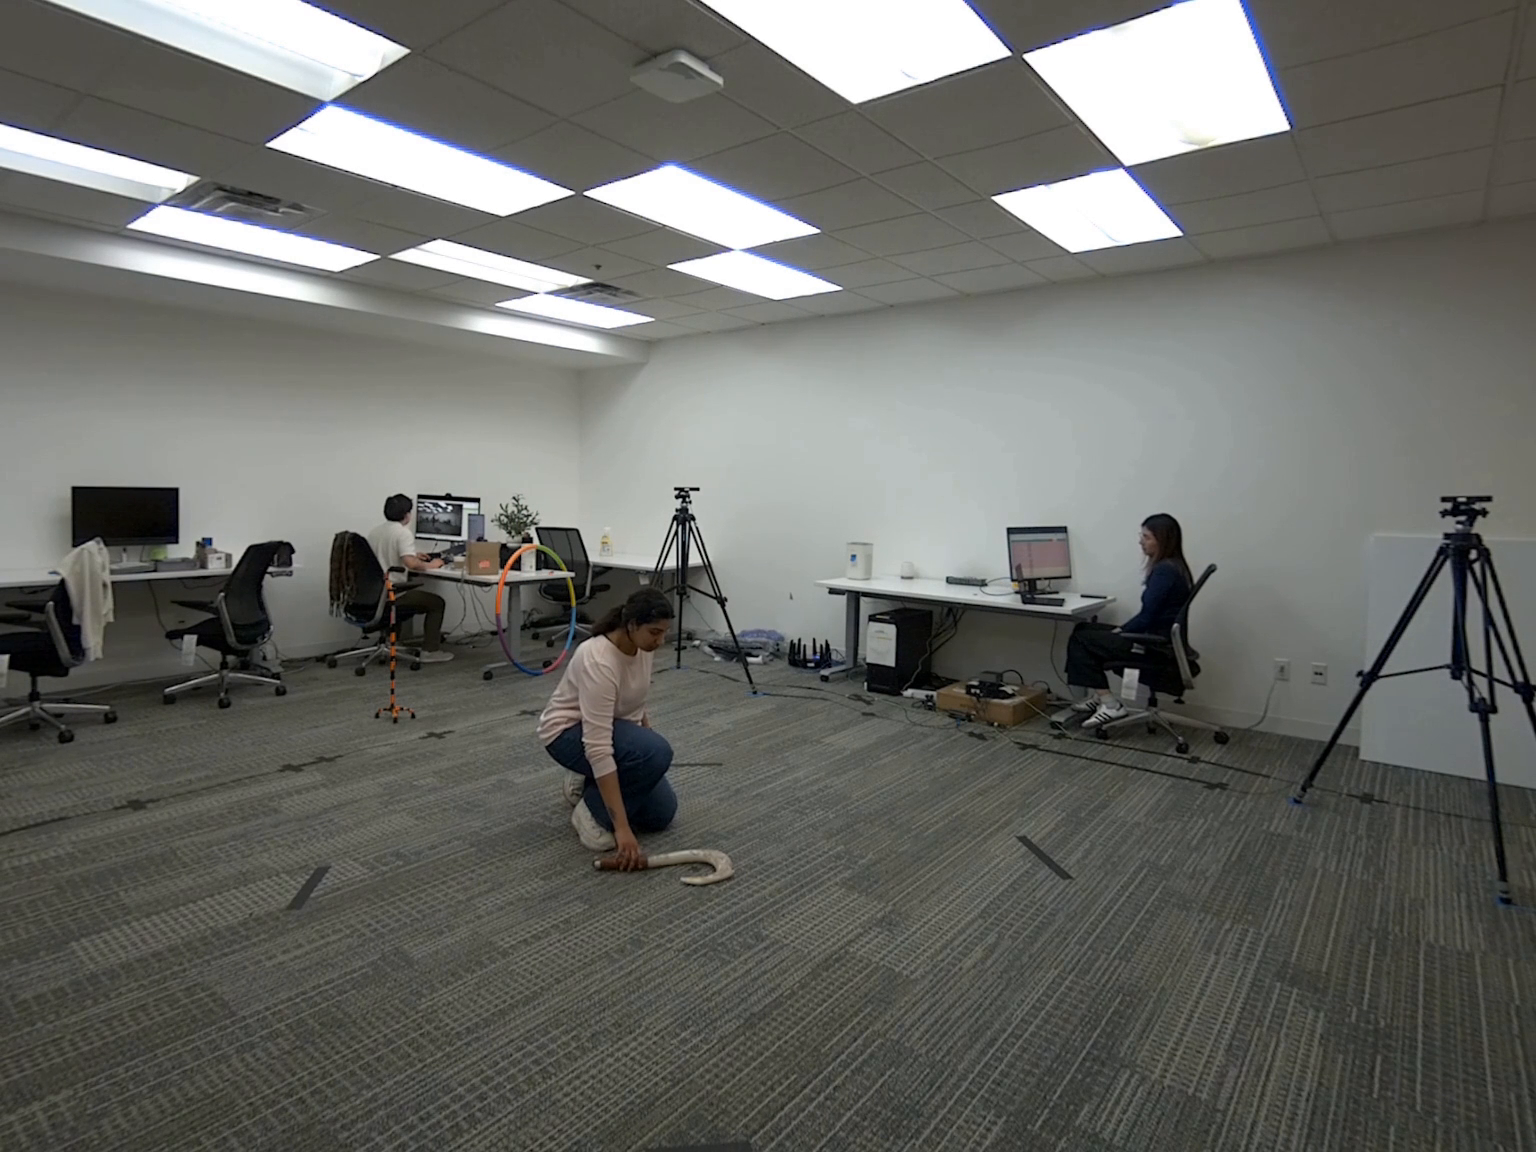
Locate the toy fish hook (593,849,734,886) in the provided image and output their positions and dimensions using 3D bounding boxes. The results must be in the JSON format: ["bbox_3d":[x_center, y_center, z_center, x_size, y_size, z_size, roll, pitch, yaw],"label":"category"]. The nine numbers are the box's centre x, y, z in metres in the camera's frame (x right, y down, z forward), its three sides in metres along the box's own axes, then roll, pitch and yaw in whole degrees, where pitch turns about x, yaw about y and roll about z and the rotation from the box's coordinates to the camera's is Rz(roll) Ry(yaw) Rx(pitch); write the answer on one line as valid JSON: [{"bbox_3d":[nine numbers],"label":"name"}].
[{"bbox_3d":[-0.392,1.040,3.059,0.503,0.048,0.227,0,5,-7],"label":"toy fish hook"}]
